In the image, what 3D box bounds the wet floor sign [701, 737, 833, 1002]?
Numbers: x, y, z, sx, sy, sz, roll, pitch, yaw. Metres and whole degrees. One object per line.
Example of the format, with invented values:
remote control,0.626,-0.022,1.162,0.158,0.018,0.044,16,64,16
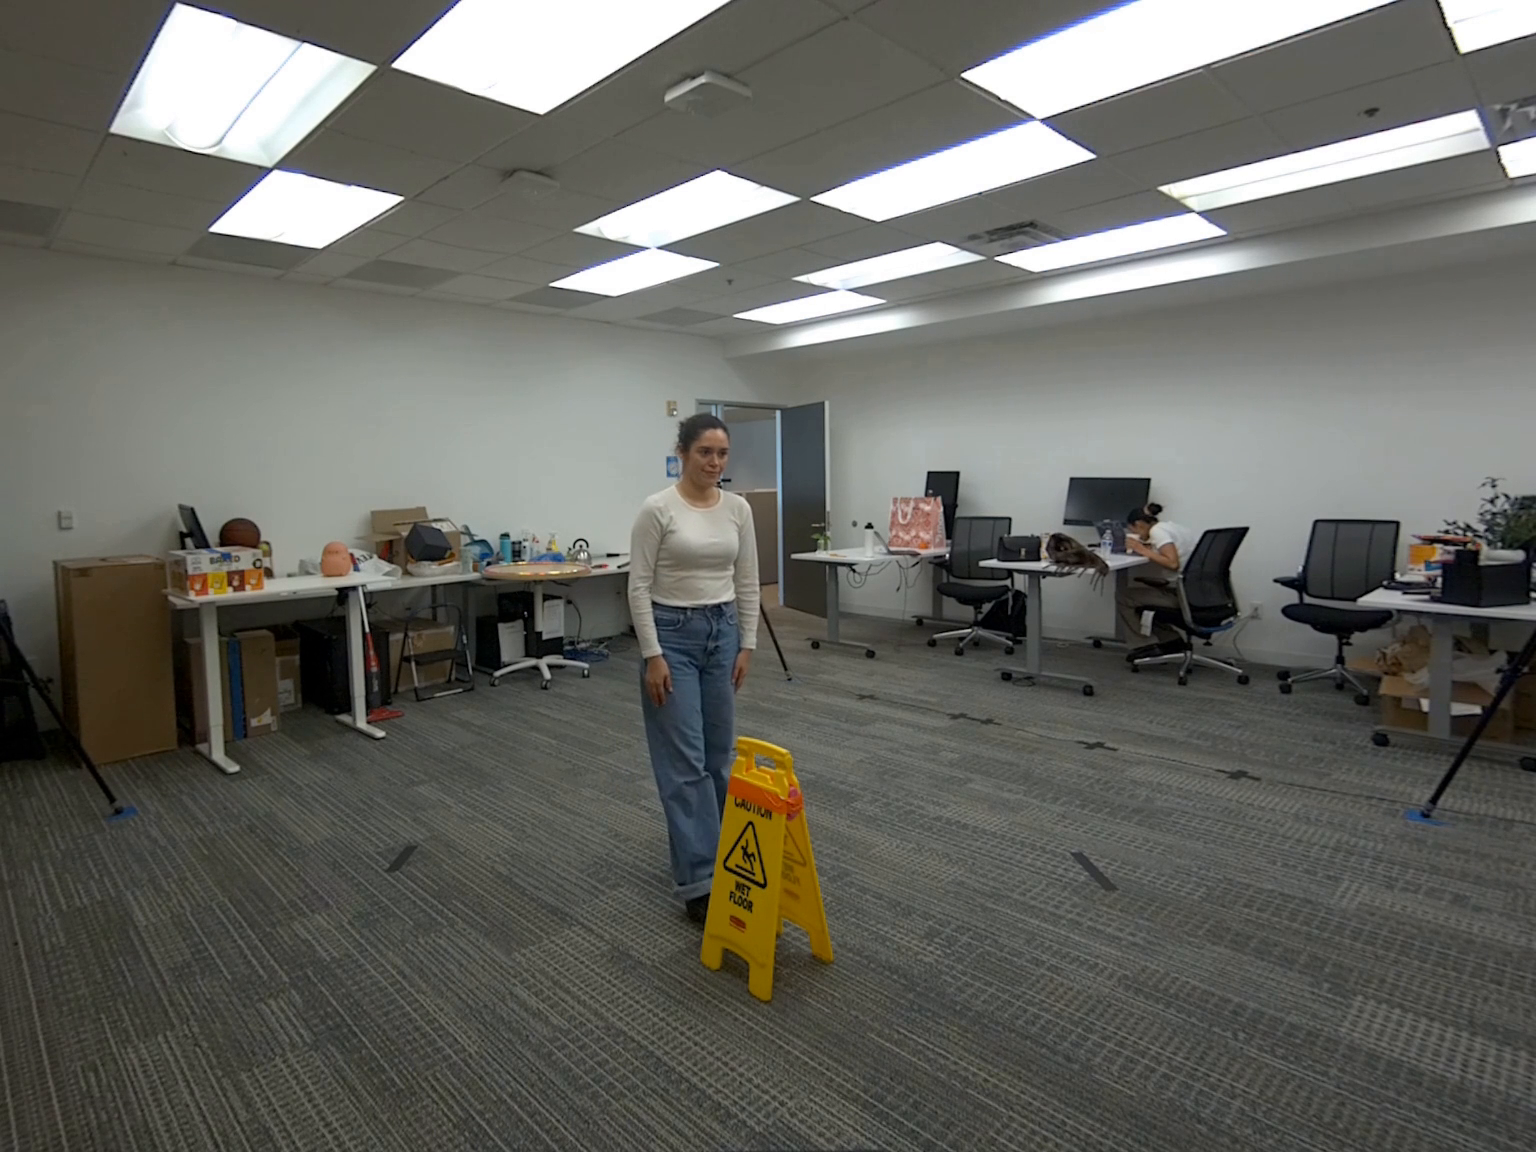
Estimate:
wet floor sign,0.000,0.796,2.454,0.282,0.644,0.291,-4,6,-44
